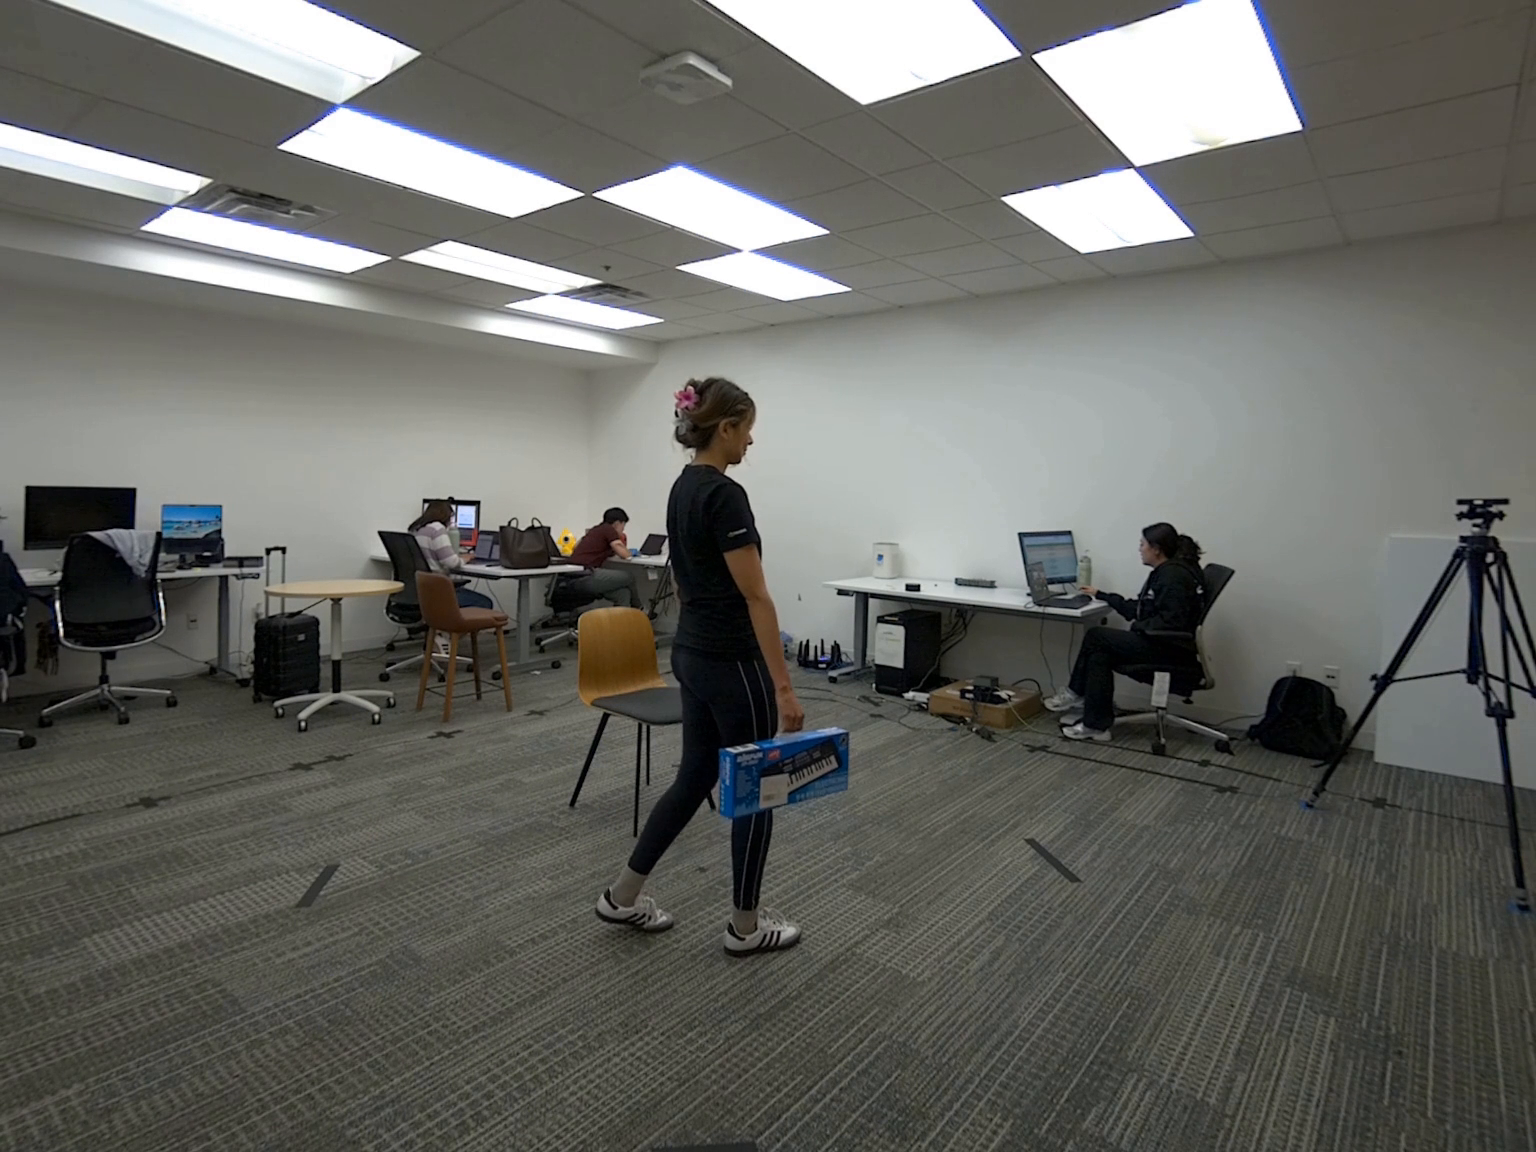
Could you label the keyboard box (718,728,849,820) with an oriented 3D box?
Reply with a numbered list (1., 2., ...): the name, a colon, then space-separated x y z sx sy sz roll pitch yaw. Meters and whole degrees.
1. keyboard box: 0.044 0.536 2.354 0.423 0.176 0.061 -1 2 -38
